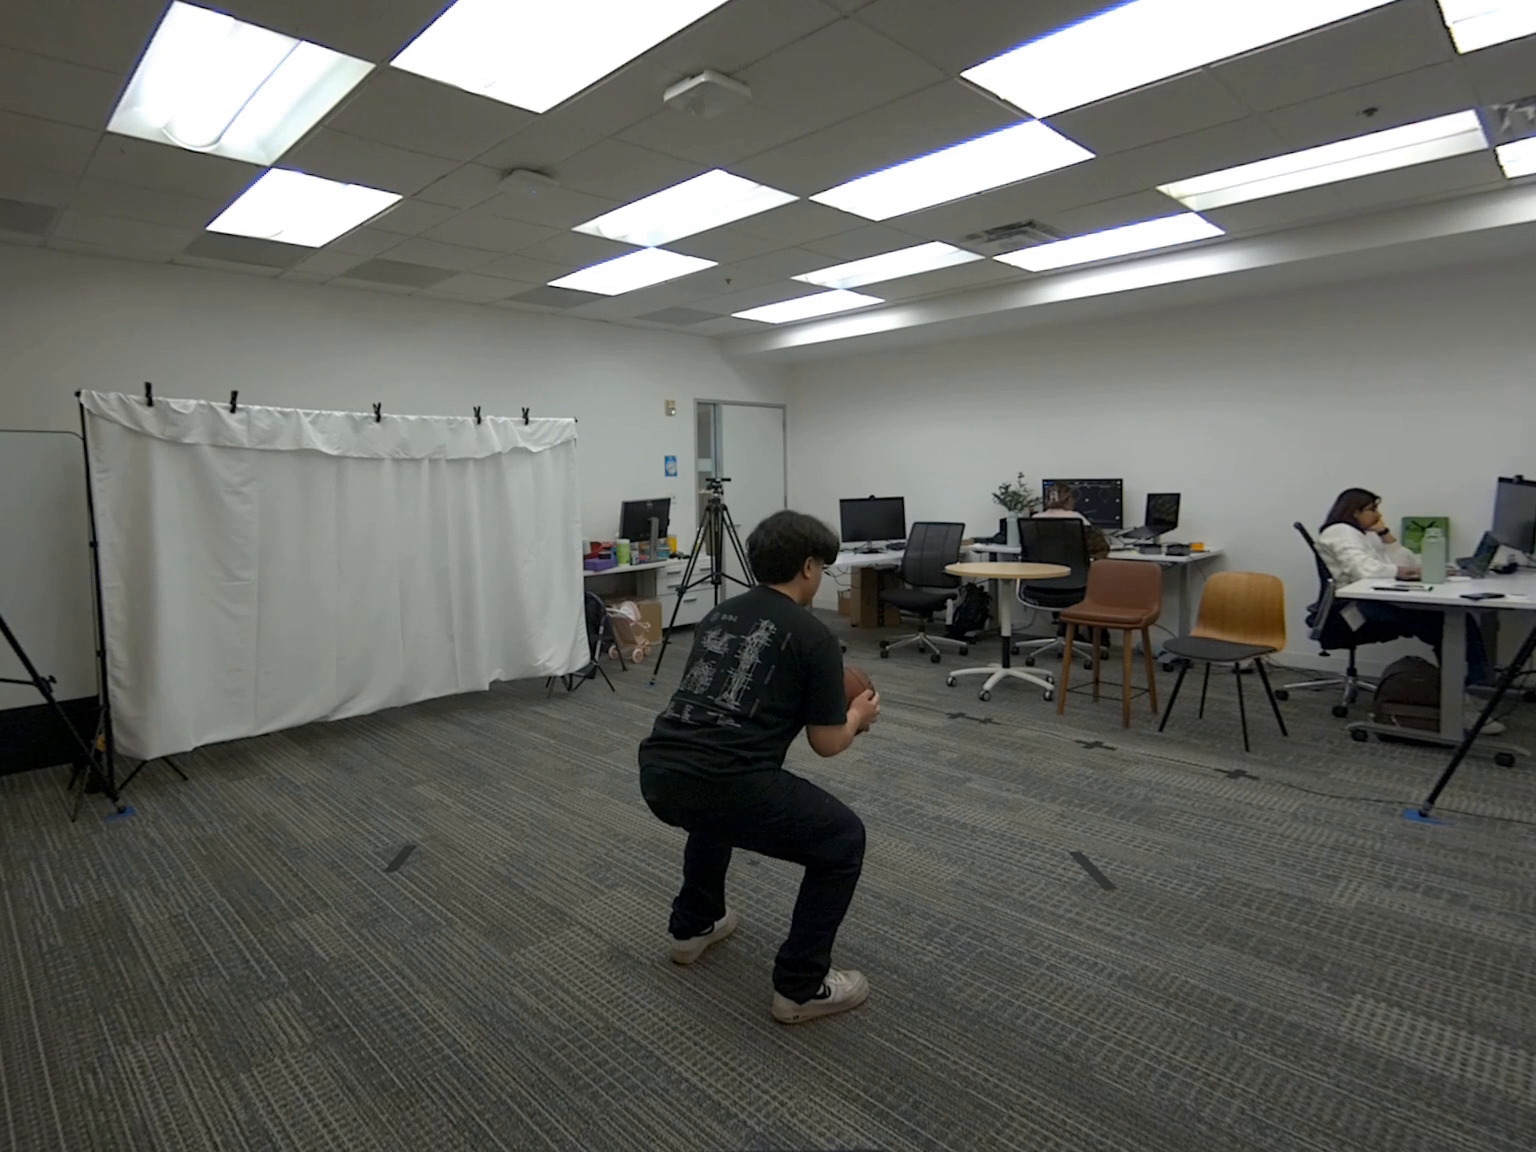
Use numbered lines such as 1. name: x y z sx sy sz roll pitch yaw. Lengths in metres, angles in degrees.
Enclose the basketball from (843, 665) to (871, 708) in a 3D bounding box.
1. basketball: 0.230 0.383 2.628 0.236 0.235 0.237 -1 5 -2
